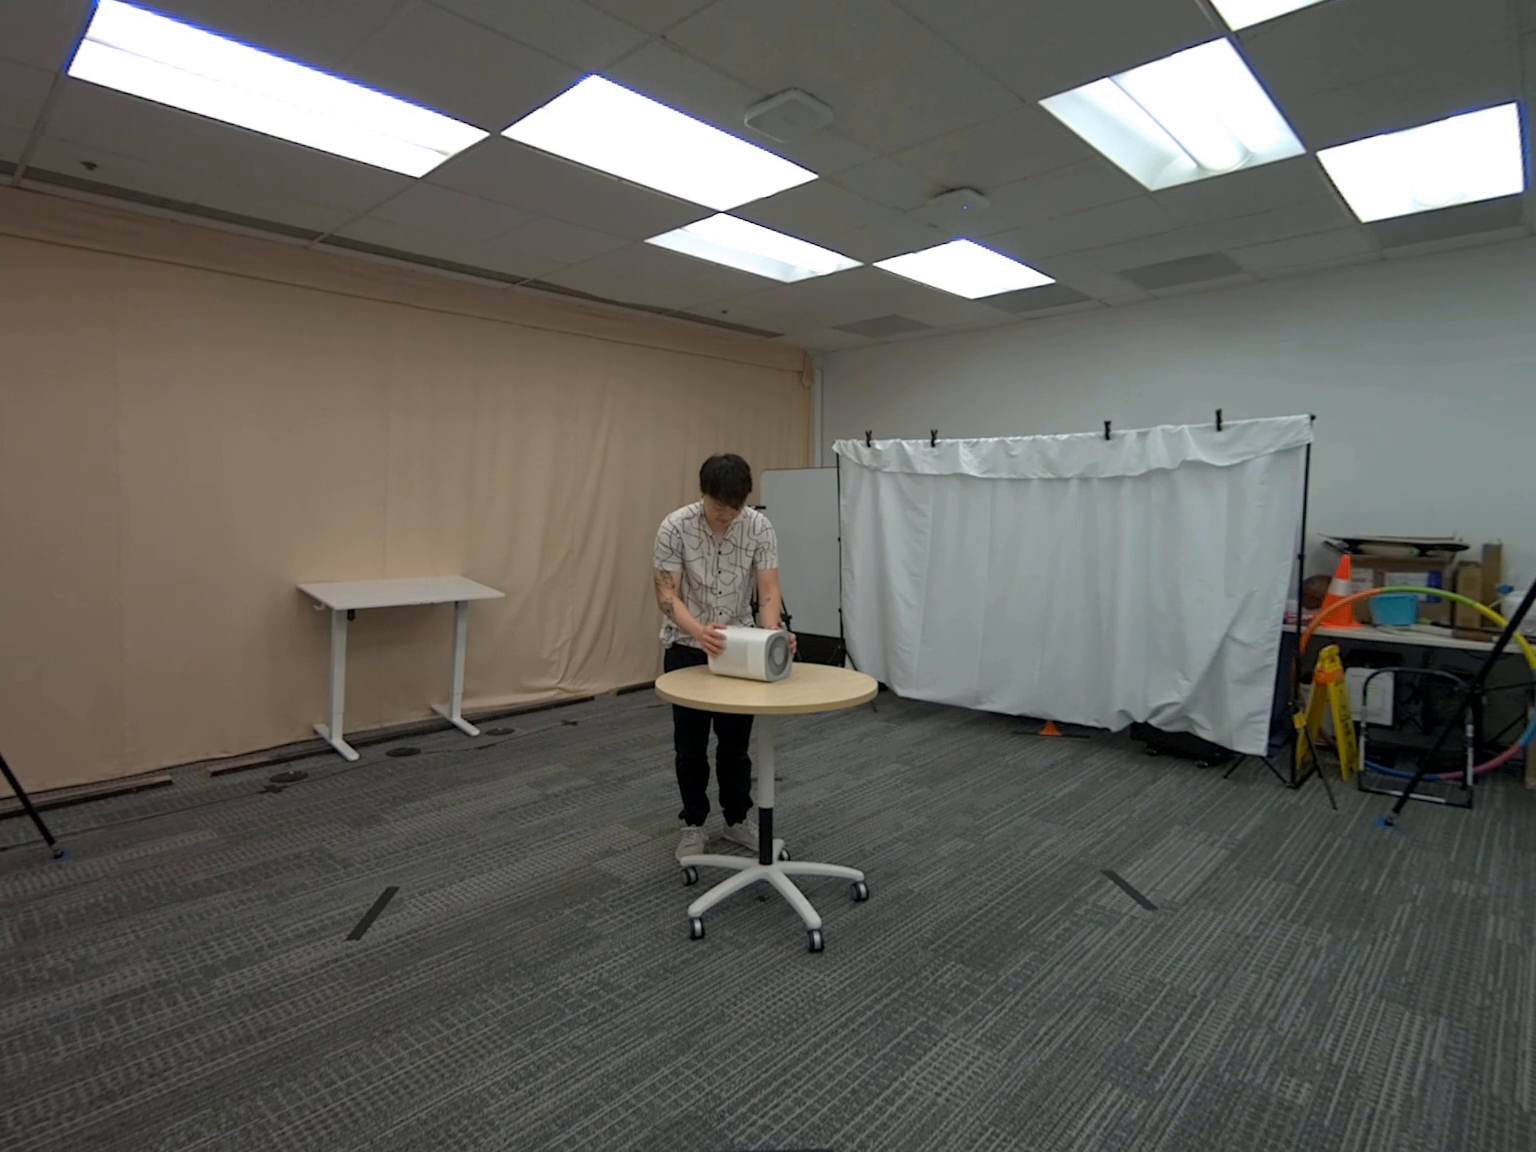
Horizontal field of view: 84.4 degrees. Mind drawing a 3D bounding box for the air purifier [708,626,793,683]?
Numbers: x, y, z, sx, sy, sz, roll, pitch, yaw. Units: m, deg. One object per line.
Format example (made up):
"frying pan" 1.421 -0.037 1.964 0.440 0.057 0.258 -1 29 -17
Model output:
"air purifier" -0.063 0.273 3.000 0.274 0.171 0.166 2 3 37
